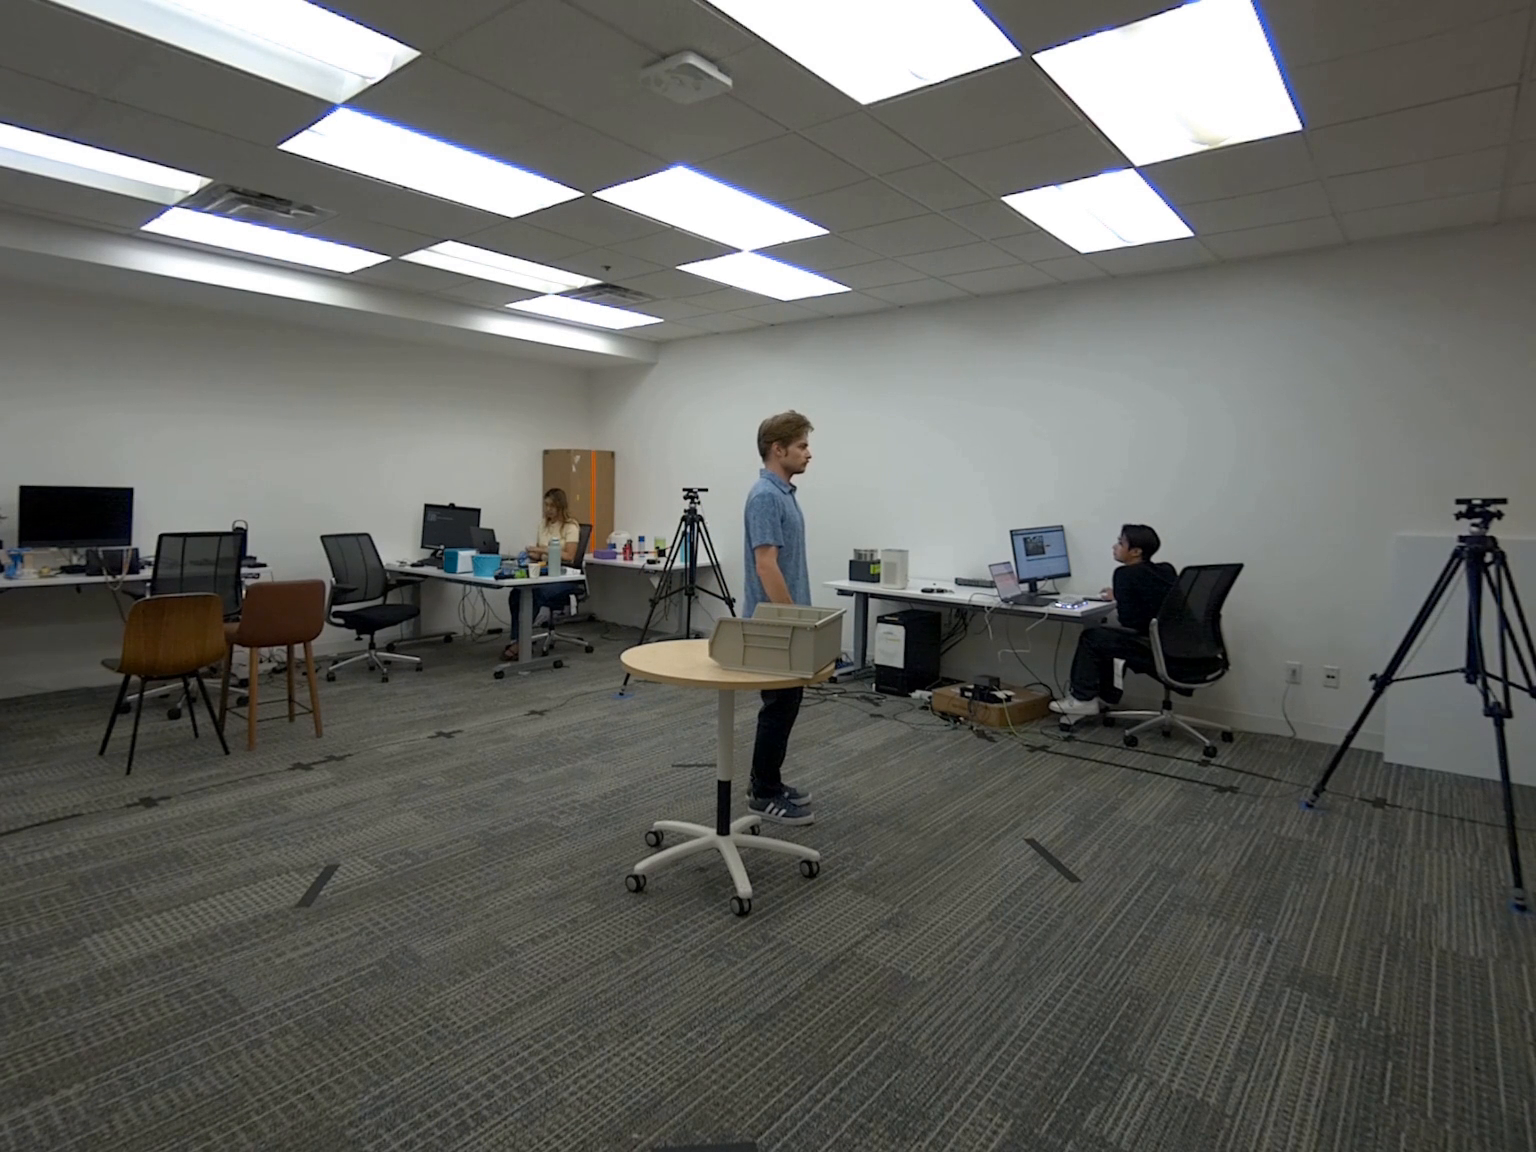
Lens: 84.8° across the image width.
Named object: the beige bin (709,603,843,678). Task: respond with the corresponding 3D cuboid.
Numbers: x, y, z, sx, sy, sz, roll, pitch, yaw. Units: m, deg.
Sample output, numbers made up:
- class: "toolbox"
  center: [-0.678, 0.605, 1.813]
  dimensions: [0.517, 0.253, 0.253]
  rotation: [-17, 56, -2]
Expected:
- class: "beige bin"
  center: [0.030, 0.216, 2.985]
  dimensions: [0.386, 0.188, 0.414]
  rotation: [5, 5, 20]
